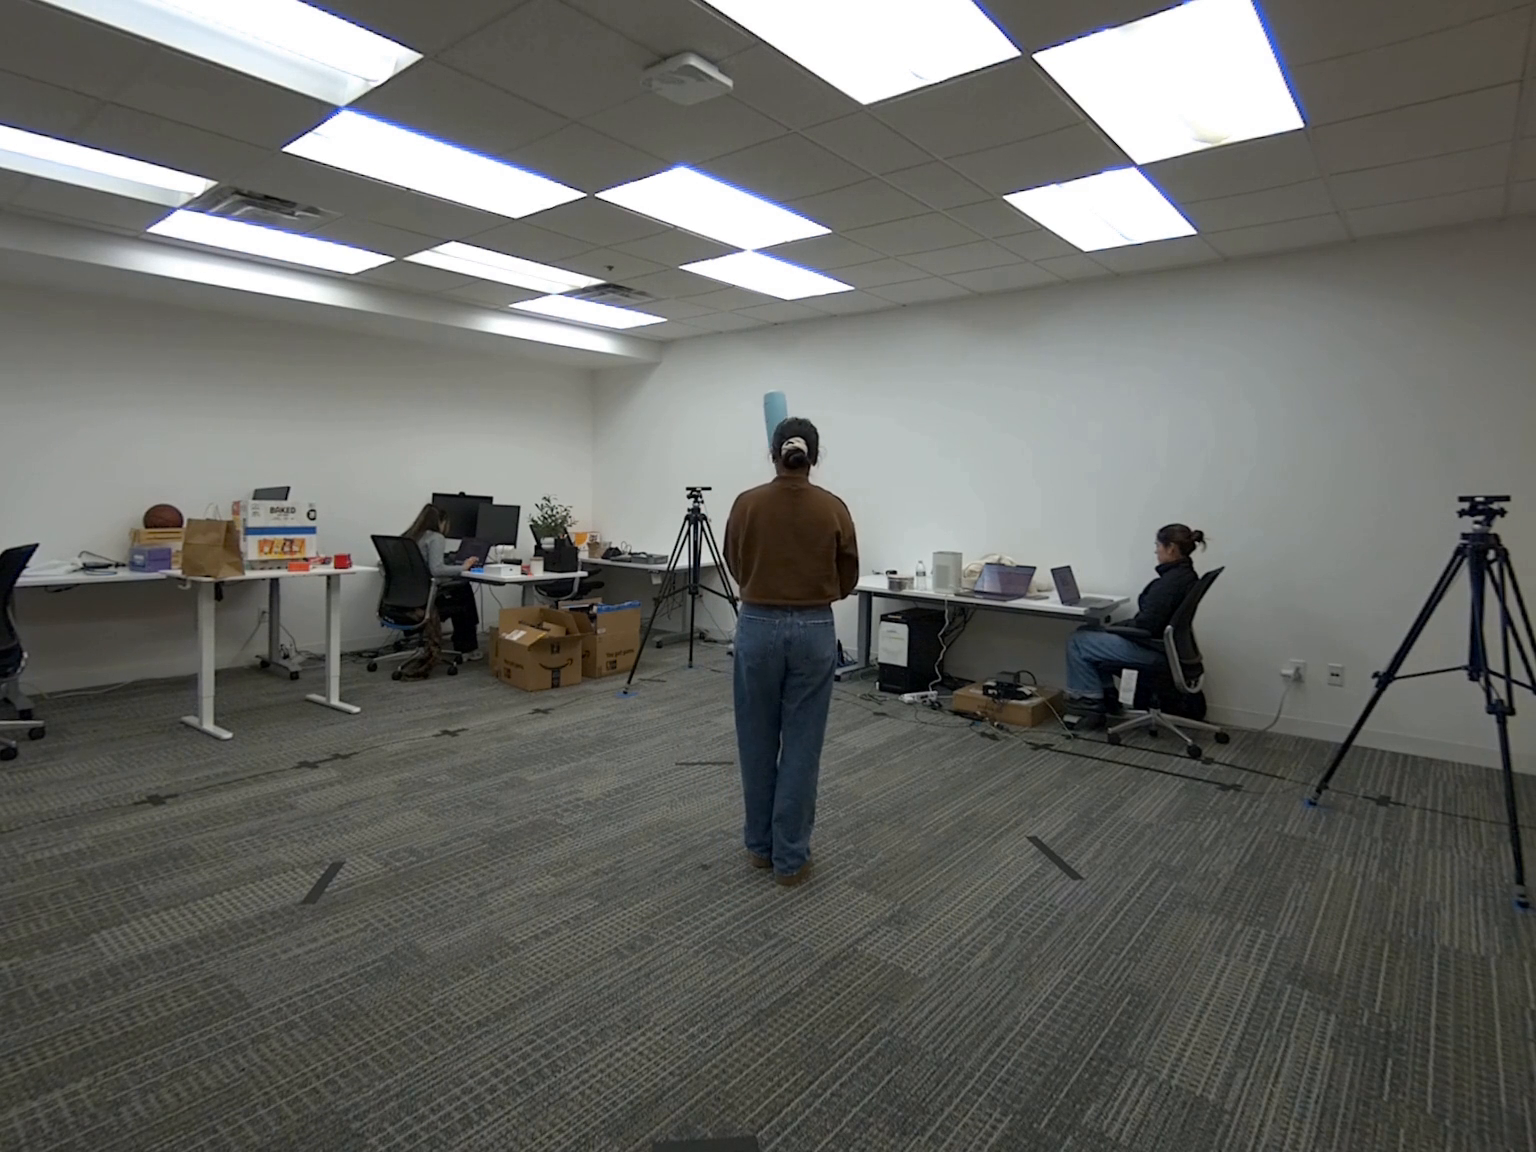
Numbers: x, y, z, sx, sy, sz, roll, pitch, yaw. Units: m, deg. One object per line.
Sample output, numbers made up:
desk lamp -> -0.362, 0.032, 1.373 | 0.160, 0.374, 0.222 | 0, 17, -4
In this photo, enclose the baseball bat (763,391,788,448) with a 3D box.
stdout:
baseball bat -> 0.039, -0.435, 3.296 | 0.089, 0.548, 0.088 | -6, -8, -3
